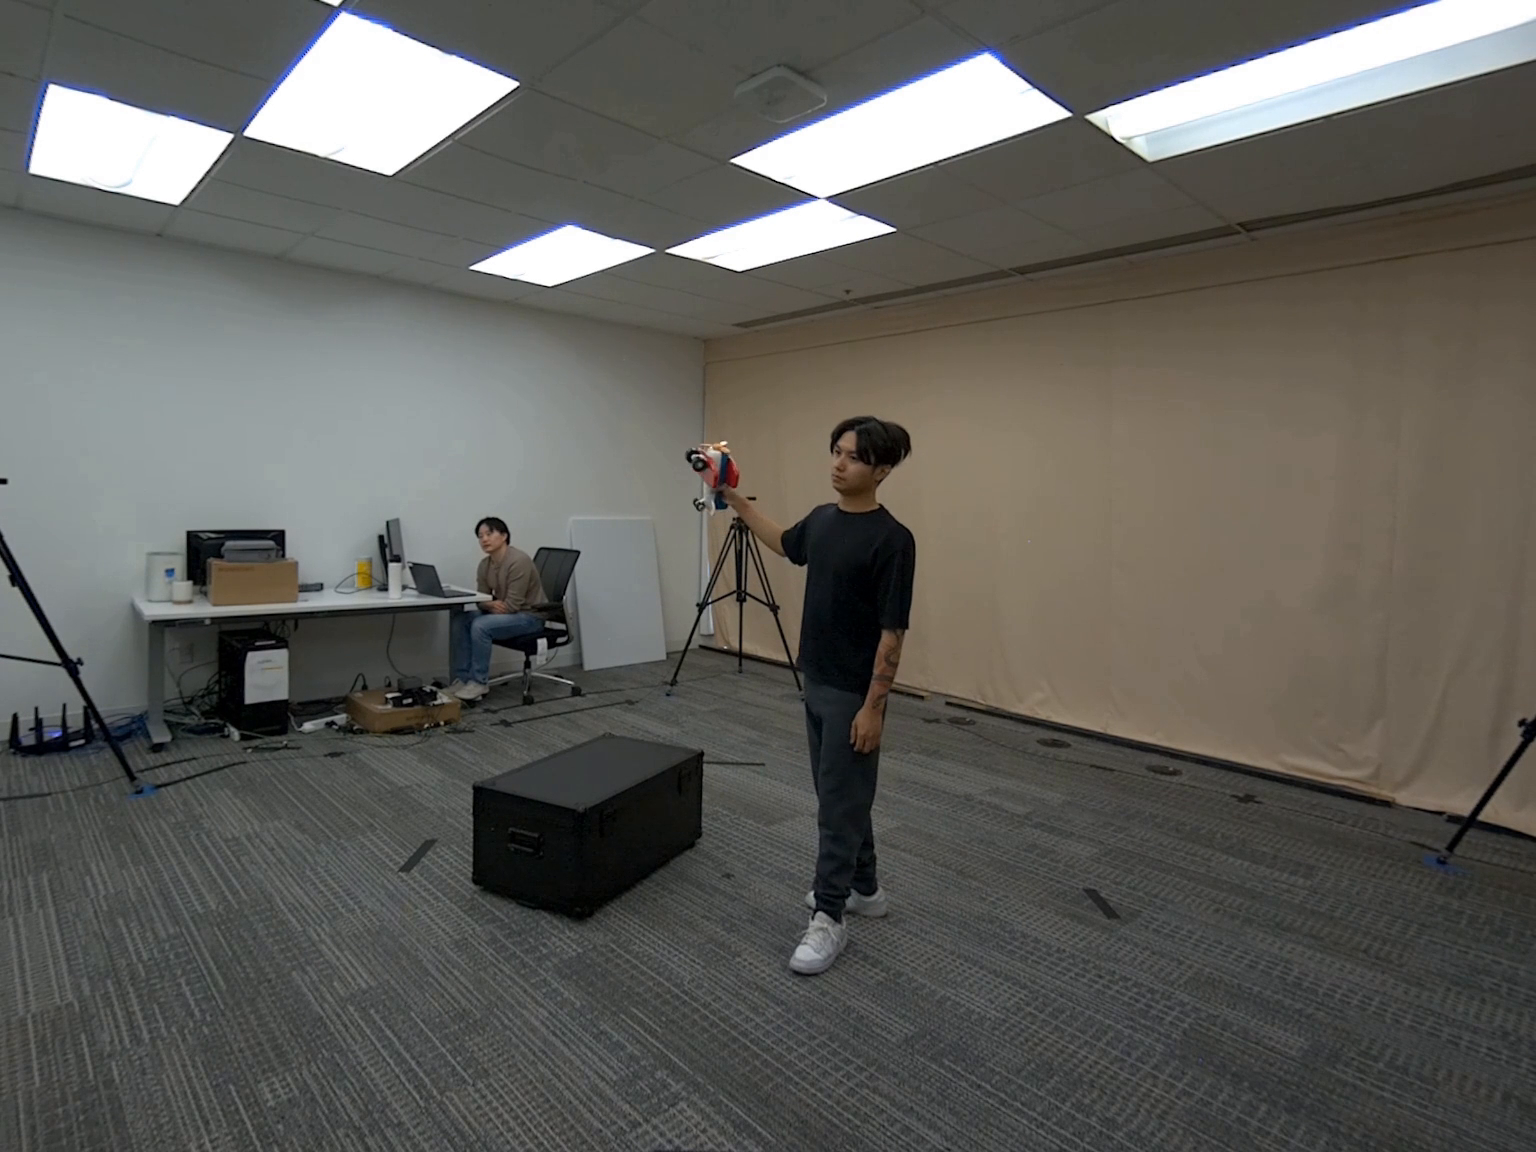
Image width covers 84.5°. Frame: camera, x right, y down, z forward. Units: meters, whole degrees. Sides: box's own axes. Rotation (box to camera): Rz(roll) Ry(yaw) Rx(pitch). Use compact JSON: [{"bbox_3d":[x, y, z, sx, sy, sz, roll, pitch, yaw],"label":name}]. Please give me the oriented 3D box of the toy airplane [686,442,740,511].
[{"bbox_3d":[-0.222,-0.366,3.071,0.155,0.258,0.254,-13,-32,-12],"label":"toy airplane"}]
